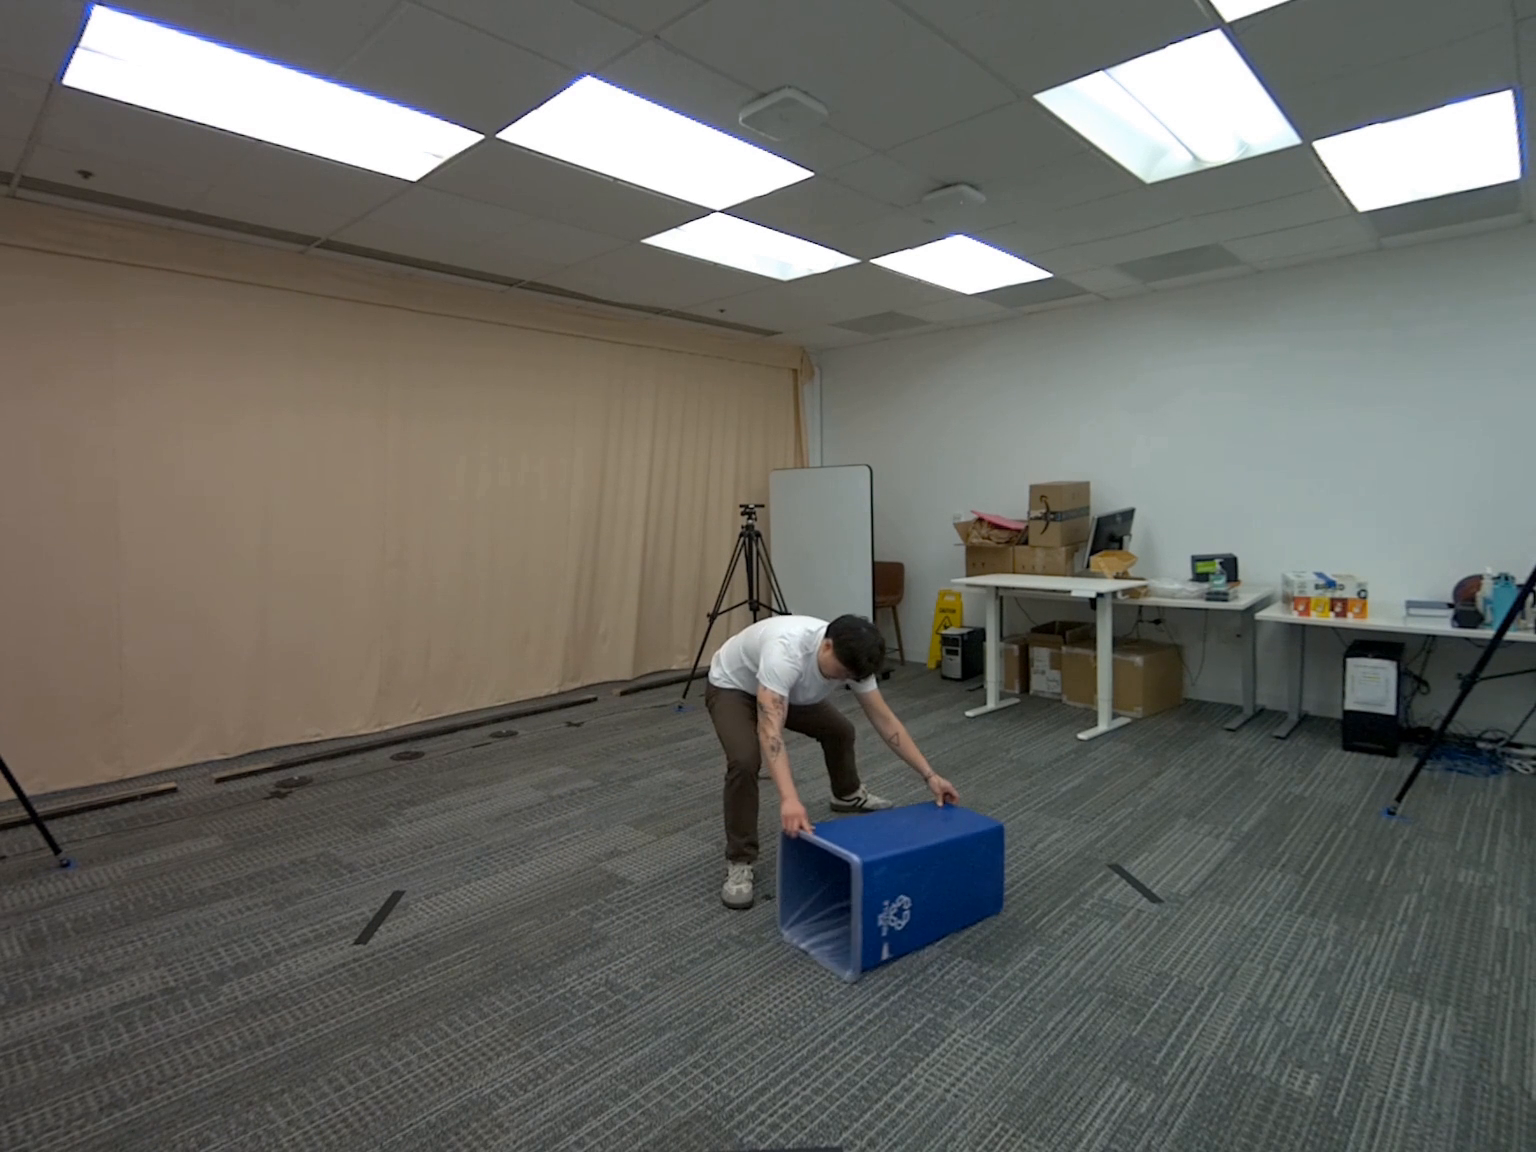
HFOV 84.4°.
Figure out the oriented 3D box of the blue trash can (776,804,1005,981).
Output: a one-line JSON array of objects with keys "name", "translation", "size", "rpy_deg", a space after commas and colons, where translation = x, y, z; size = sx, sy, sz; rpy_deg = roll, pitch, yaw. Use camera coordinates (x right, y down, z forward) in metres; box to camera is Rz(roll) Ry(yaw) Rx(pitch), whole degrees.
[{"name": "blue trash can", "translation": [0.426, 0.981, 2.772], "size": [0.693, 0.378, 0.385], "rpy_deg": [-2, 2, -35]}]
